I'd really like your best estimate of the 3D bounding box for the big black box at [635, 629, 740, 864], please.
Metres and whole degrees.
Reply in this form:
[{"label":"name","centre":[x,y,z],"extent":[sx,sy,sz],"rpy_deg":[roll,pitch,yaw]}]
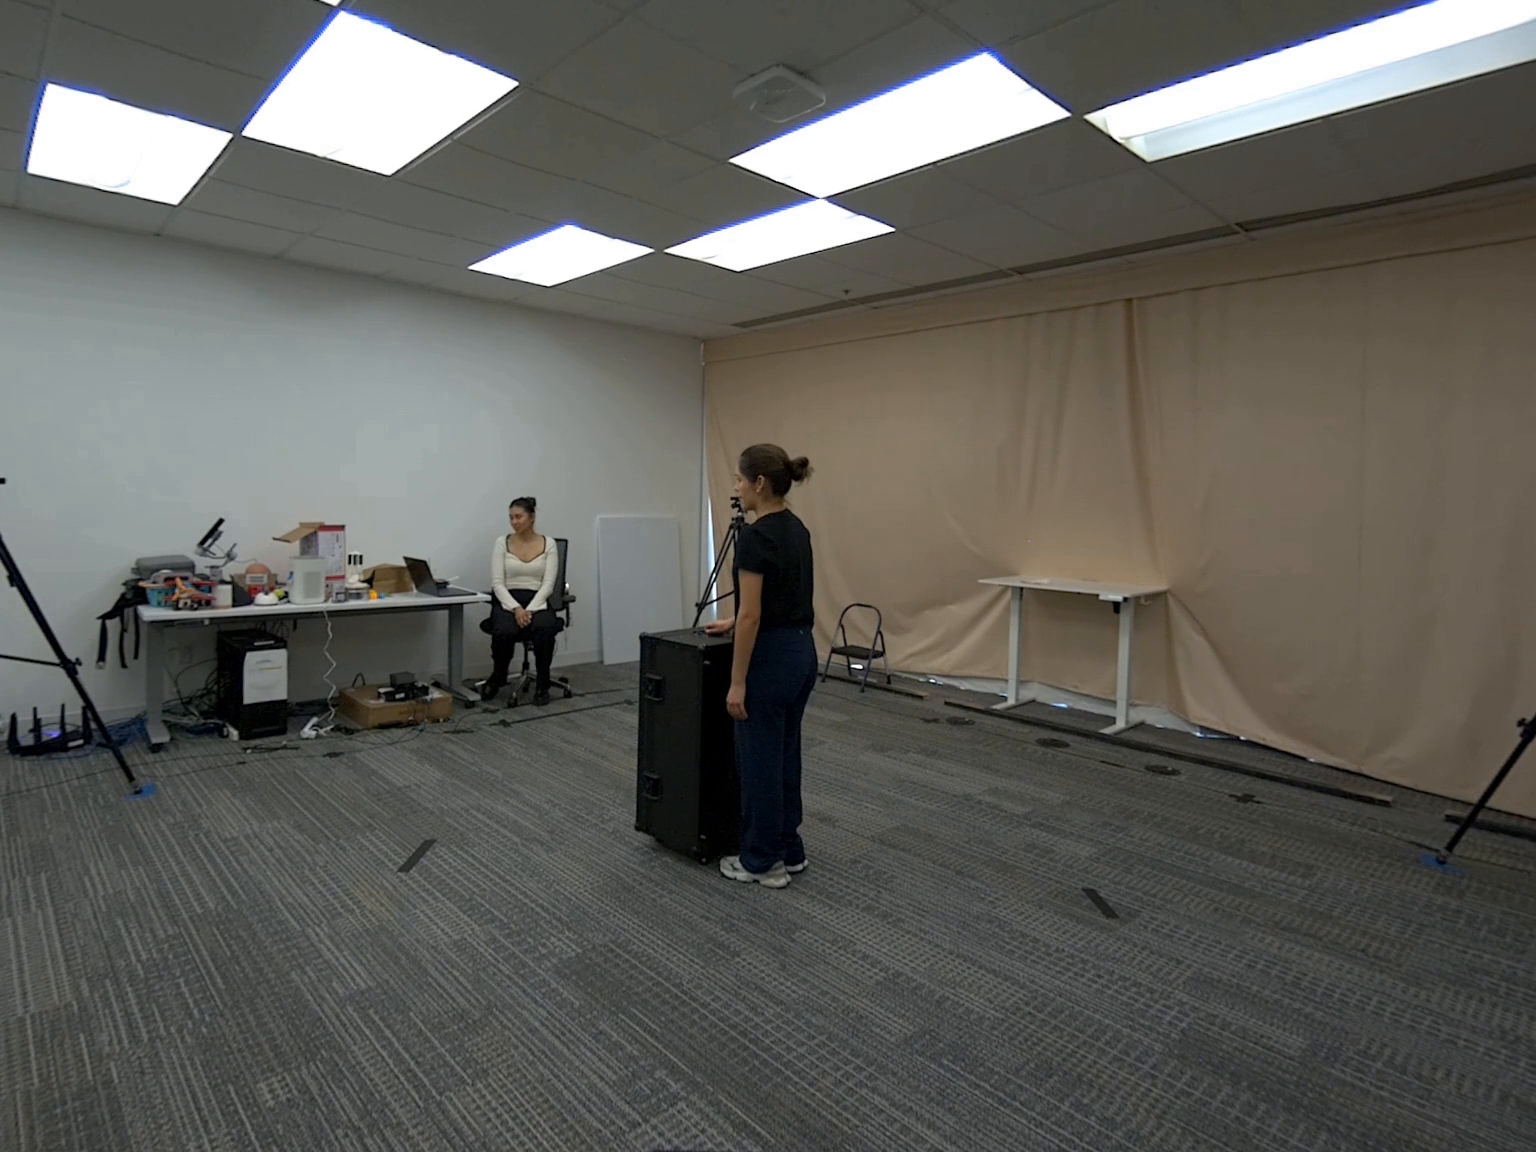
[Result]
[{"label":"big black box","centre":[-0.236,0.659,3.360],"extent":[0.406,0.859,0.509],"rpy_deg":[4,5,41]}]
